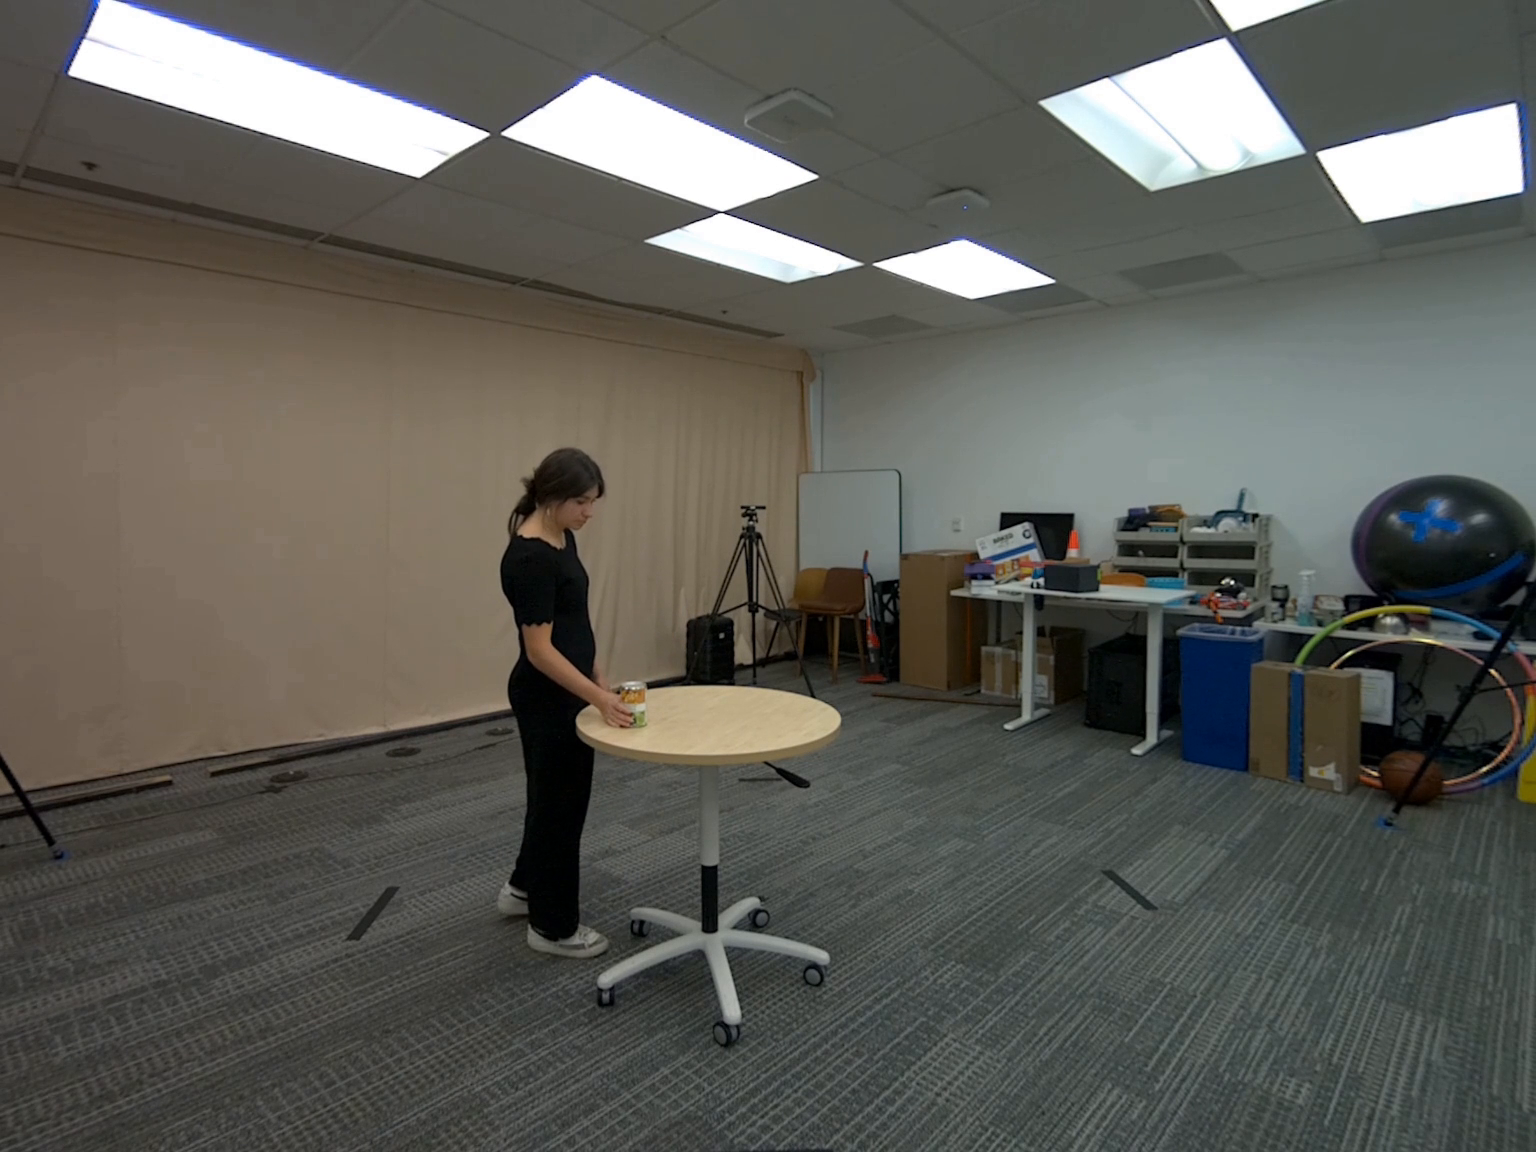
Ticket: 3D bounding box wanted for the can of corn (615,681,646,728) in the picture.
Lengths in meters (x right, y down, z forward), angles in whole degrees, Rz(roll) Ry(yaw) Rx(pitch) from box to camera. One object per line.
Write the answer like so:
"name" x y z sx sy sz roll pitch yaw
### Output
"can of corn" -0.375 0.363 2.333 0.074 0.110 0.074 -3 8 -1
